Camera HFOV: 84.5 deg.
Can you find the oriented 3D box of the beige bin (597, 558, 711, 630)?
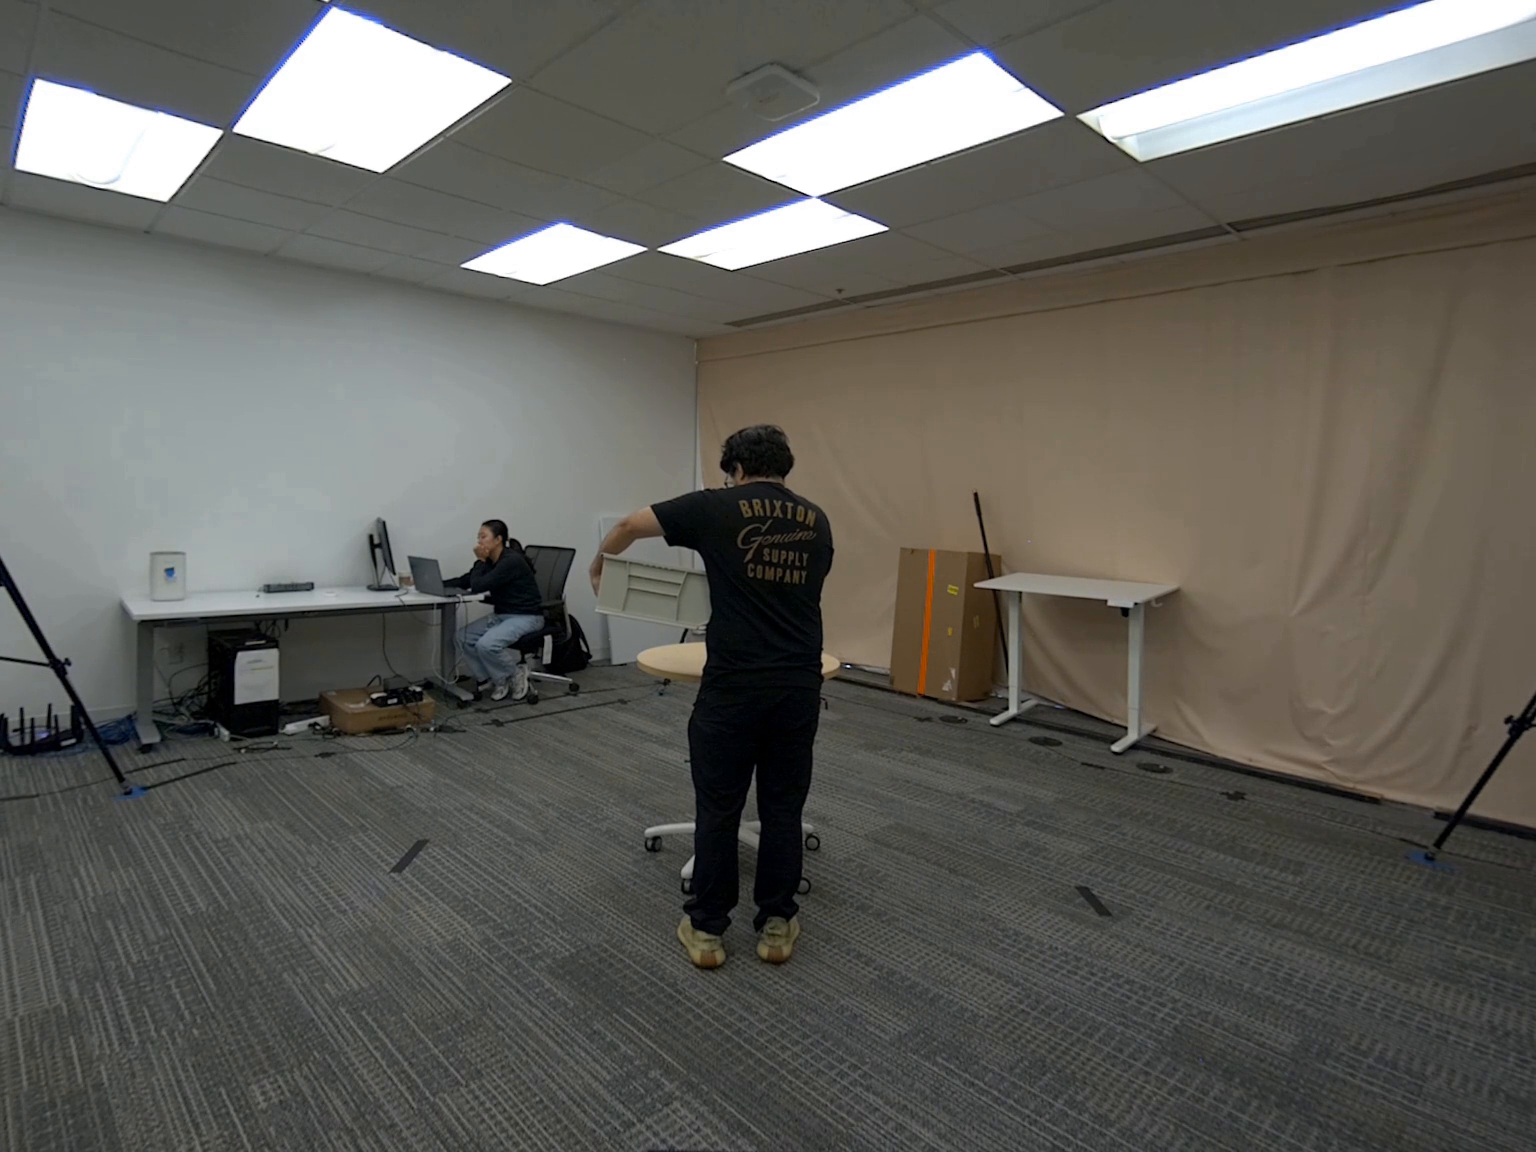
[{"bbox_3d":[-0.324,0.065,2.718,0.378,0.189,0.421,10,-1,2],"label":"beige bin"}]
